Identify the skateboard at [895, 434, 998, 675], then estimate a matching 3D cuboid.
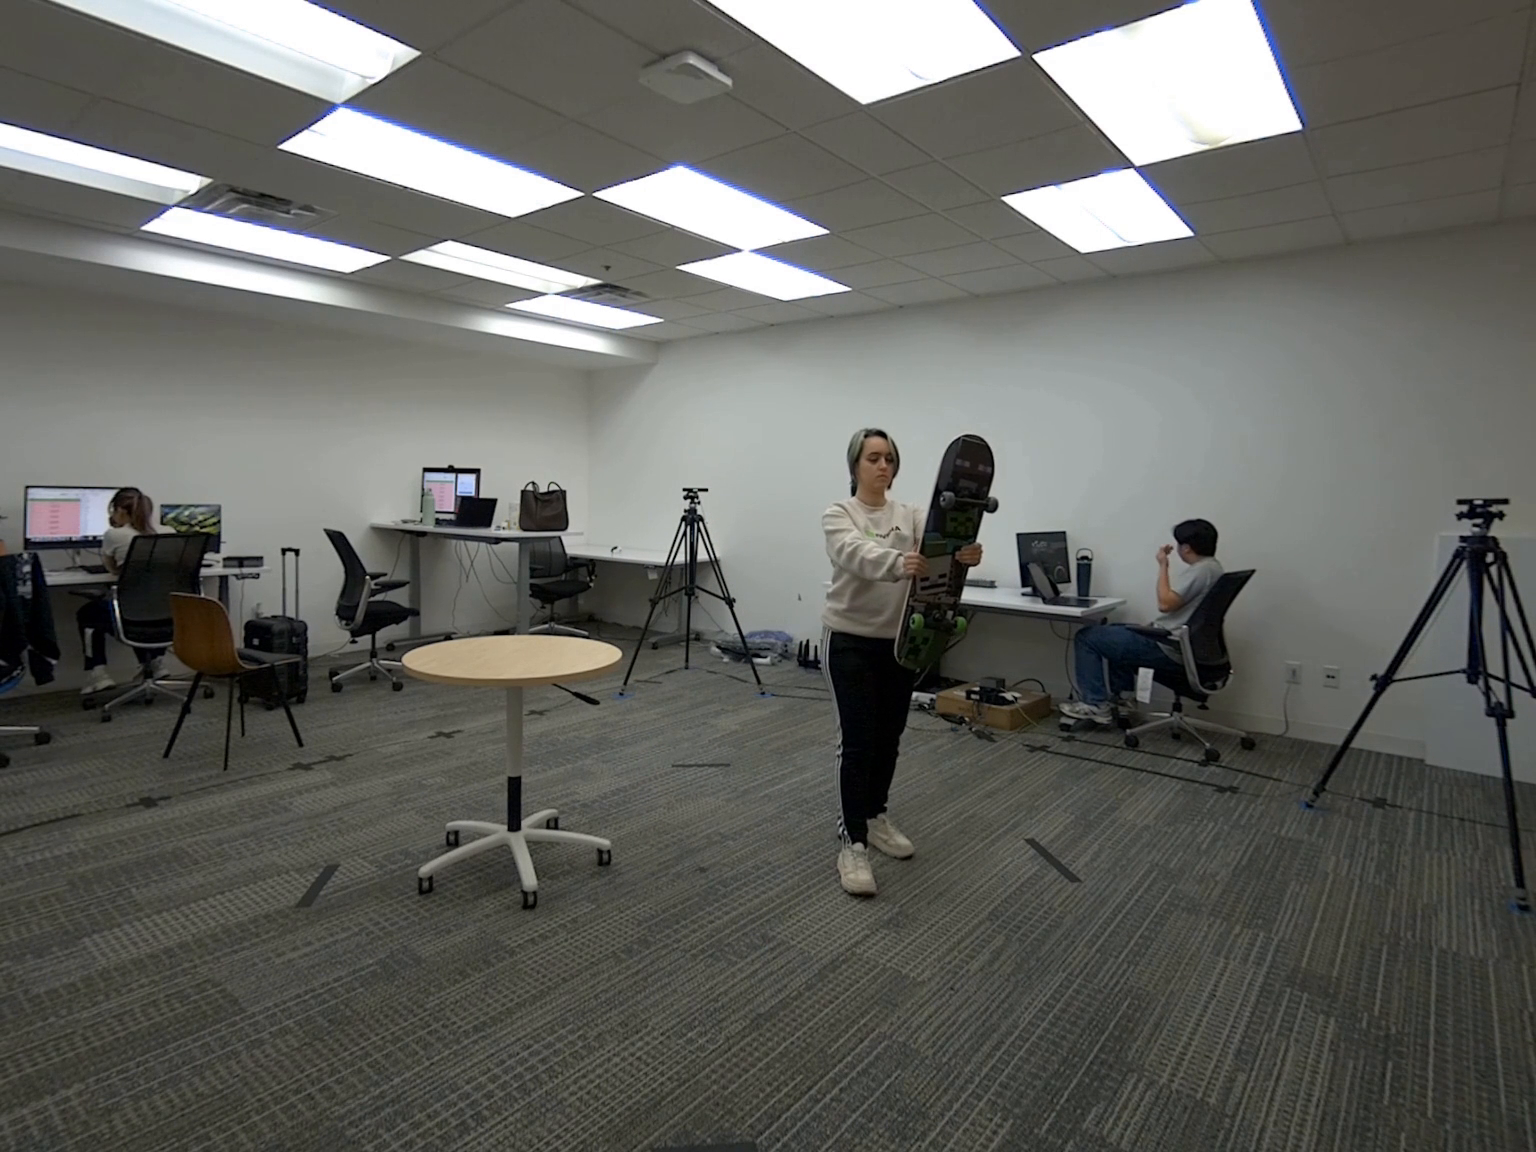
[{"bbox_3d":[0.566,-0.052,2.662,0.189,0.777,0.114,6,16,-20],"label":"skateboard"}]
